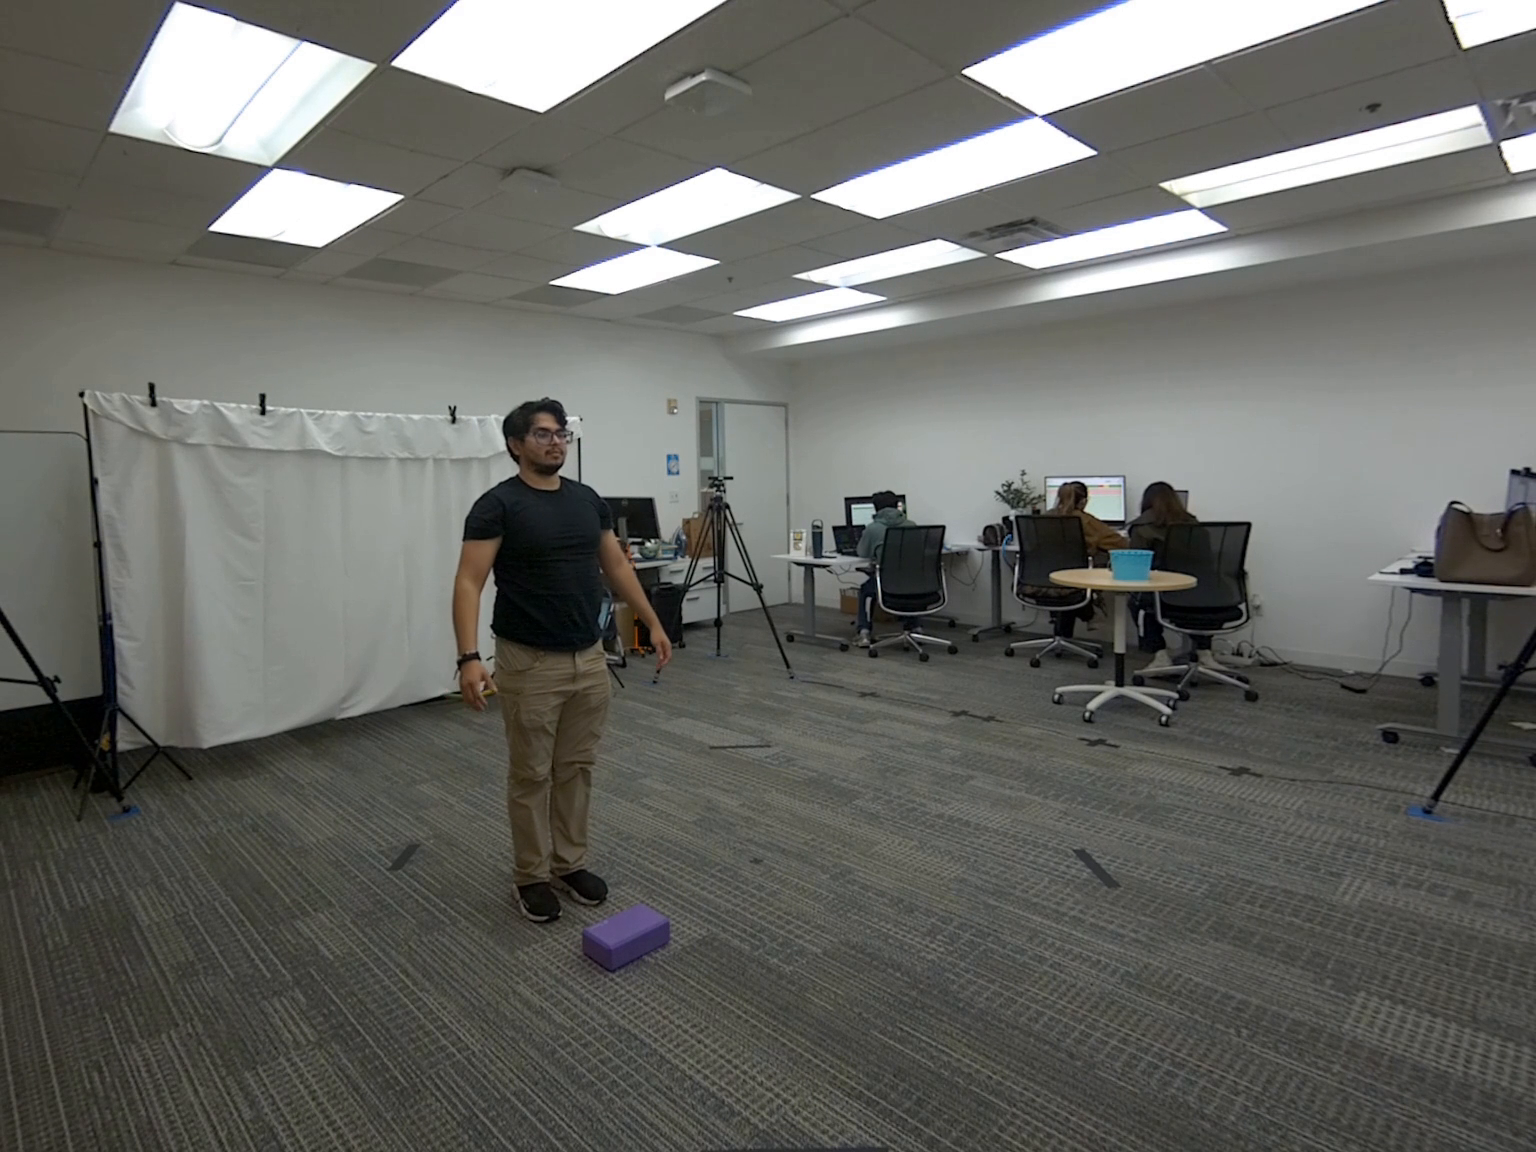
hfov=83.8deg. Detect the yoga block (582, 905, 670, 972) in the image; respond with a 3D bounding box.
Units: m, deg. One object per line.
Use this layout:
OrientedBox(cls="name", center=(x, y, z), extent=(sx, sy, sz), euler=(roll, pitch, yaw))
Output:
OrientedBox(cls="yoga block", center=(-0.416, 1.075, 2.547), extent=(0.154, 0.076, 0.223), euler=(6, 10, 44))
